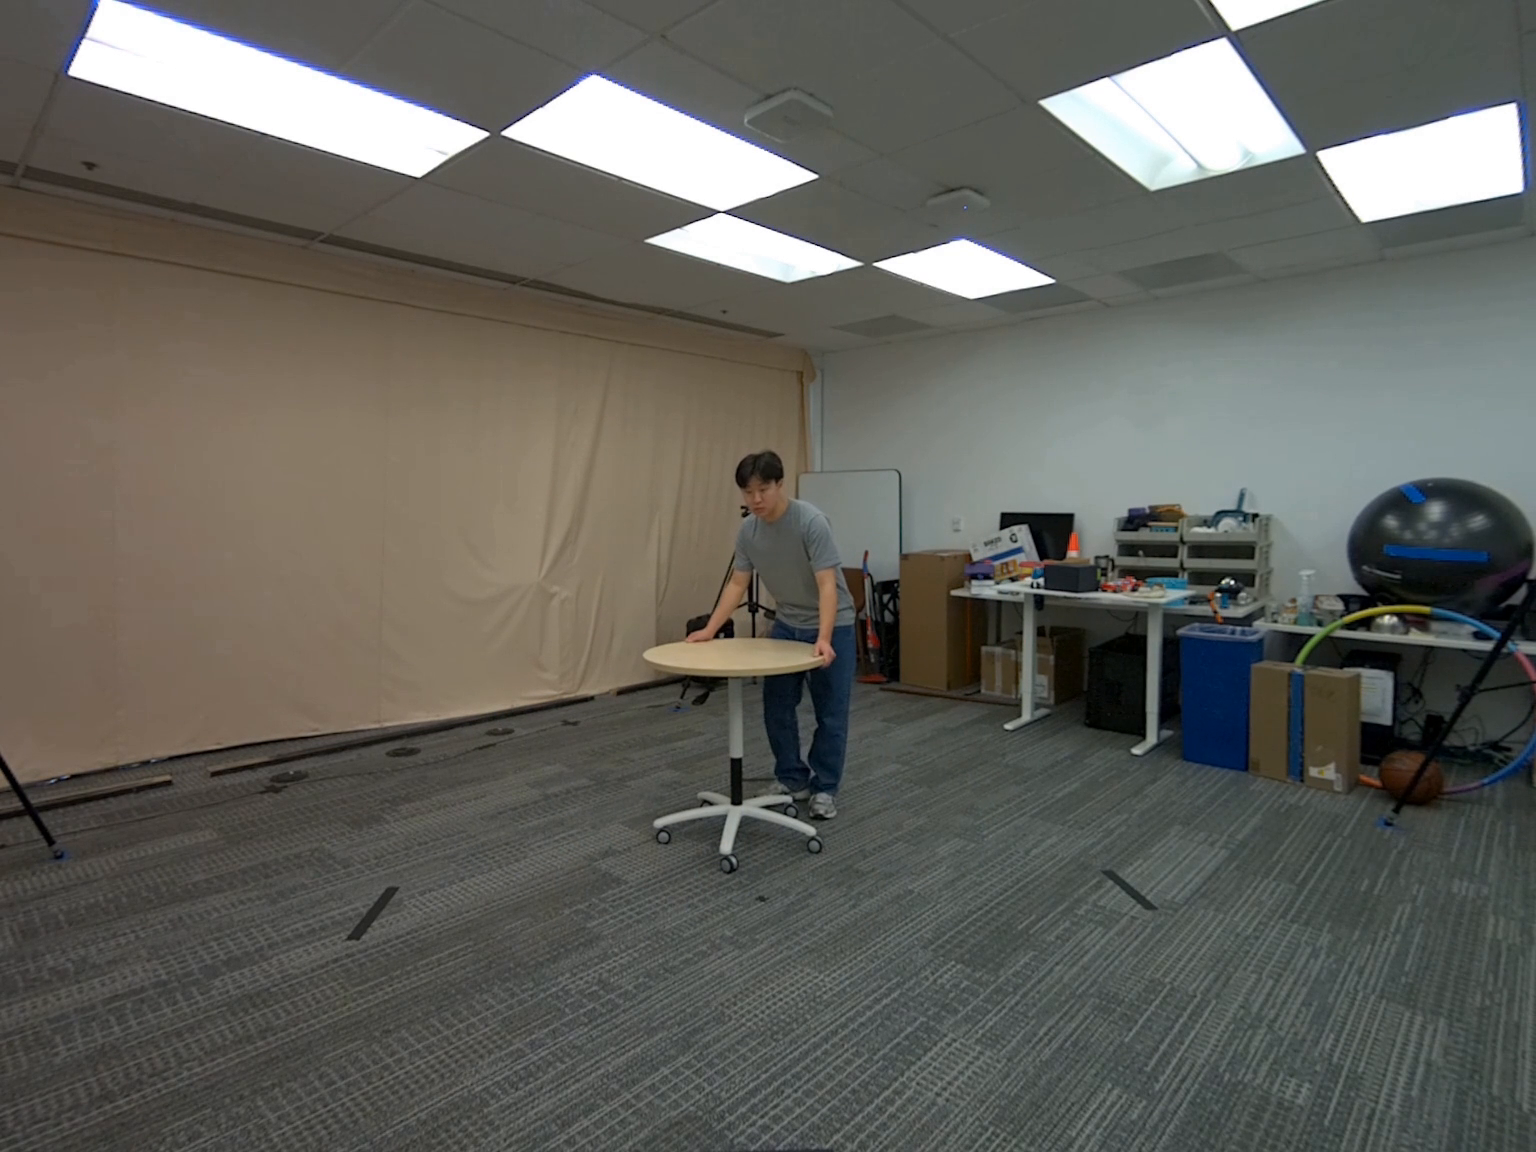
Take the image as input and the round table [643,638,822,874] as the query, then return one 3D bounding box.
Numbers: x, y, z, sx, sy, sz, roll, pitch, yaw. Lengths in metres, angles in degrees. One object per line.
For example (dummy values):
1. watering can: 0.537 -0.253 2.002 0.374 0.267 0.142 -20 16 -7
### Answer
1. round table: -0.133 0.713 3.523 0.763 0.792 0.766 -1 3 -2
